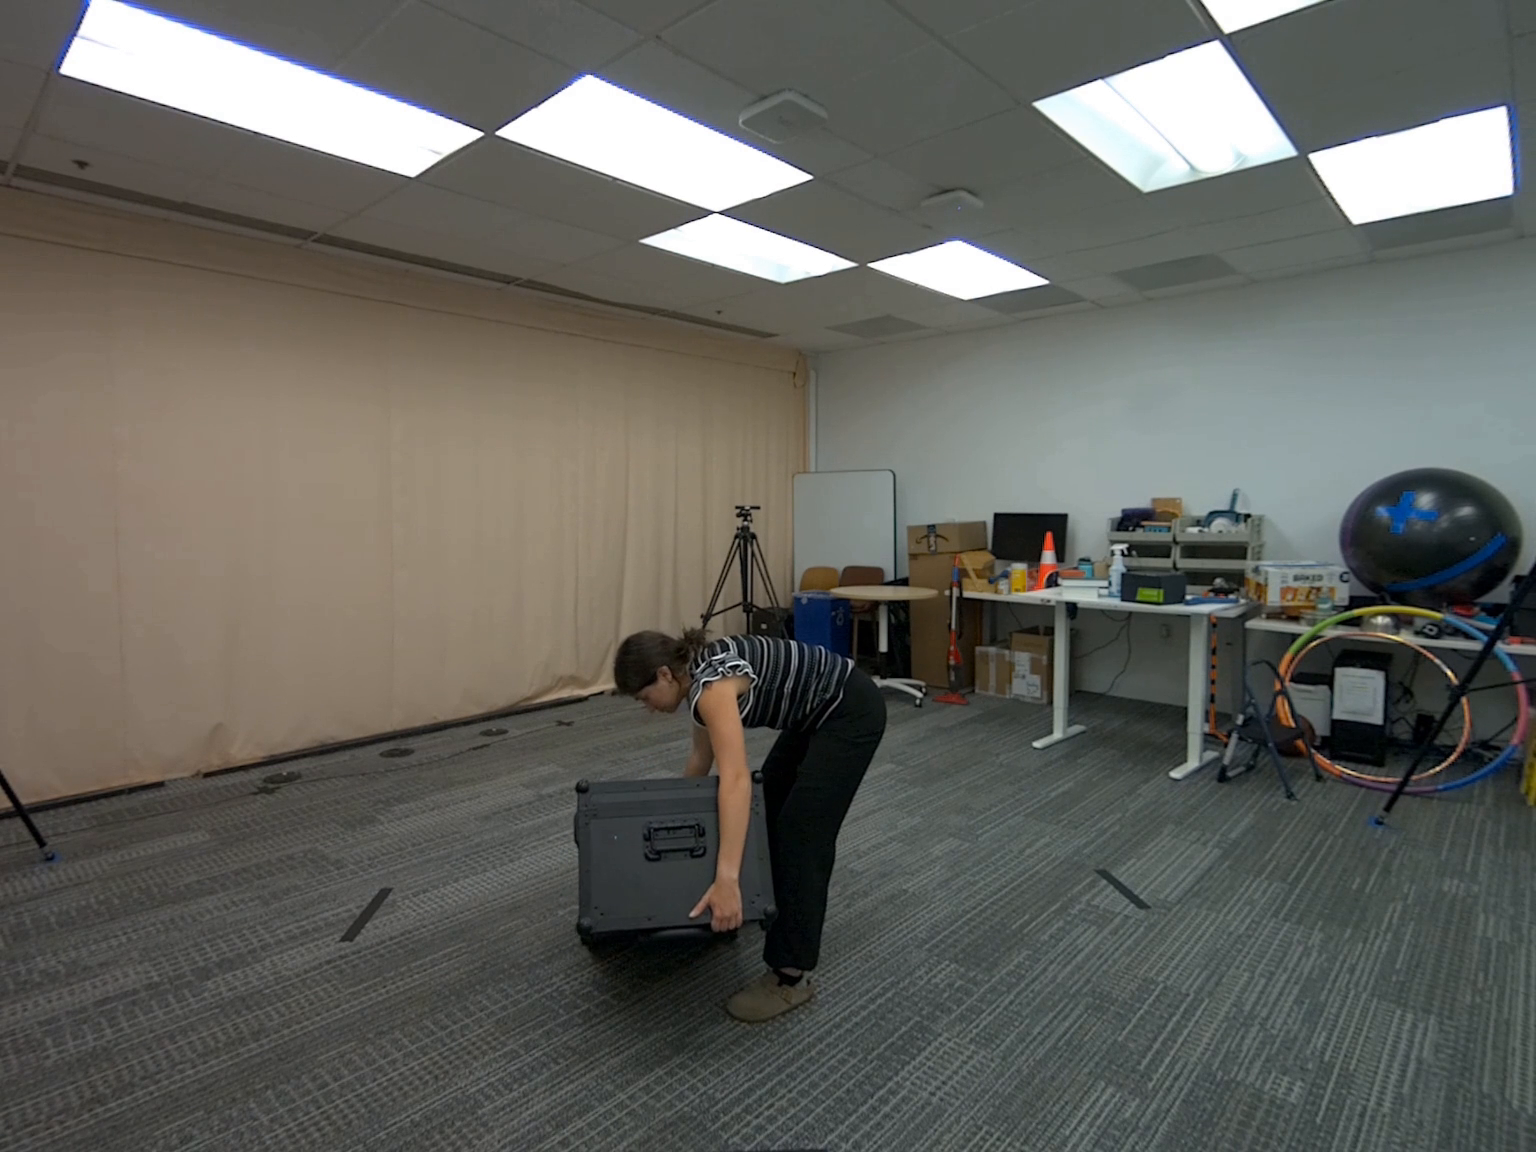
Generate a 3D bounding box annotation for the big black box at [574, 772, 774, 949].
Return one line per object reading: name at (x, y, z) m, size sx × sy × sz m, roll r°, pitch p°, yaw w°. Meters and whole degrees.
big black box at (-0.310, 0.868, 2.470) m, size 0.516 × 0.403 × 0.857 m, roll 1°, pitch -25°, yaw -11°
